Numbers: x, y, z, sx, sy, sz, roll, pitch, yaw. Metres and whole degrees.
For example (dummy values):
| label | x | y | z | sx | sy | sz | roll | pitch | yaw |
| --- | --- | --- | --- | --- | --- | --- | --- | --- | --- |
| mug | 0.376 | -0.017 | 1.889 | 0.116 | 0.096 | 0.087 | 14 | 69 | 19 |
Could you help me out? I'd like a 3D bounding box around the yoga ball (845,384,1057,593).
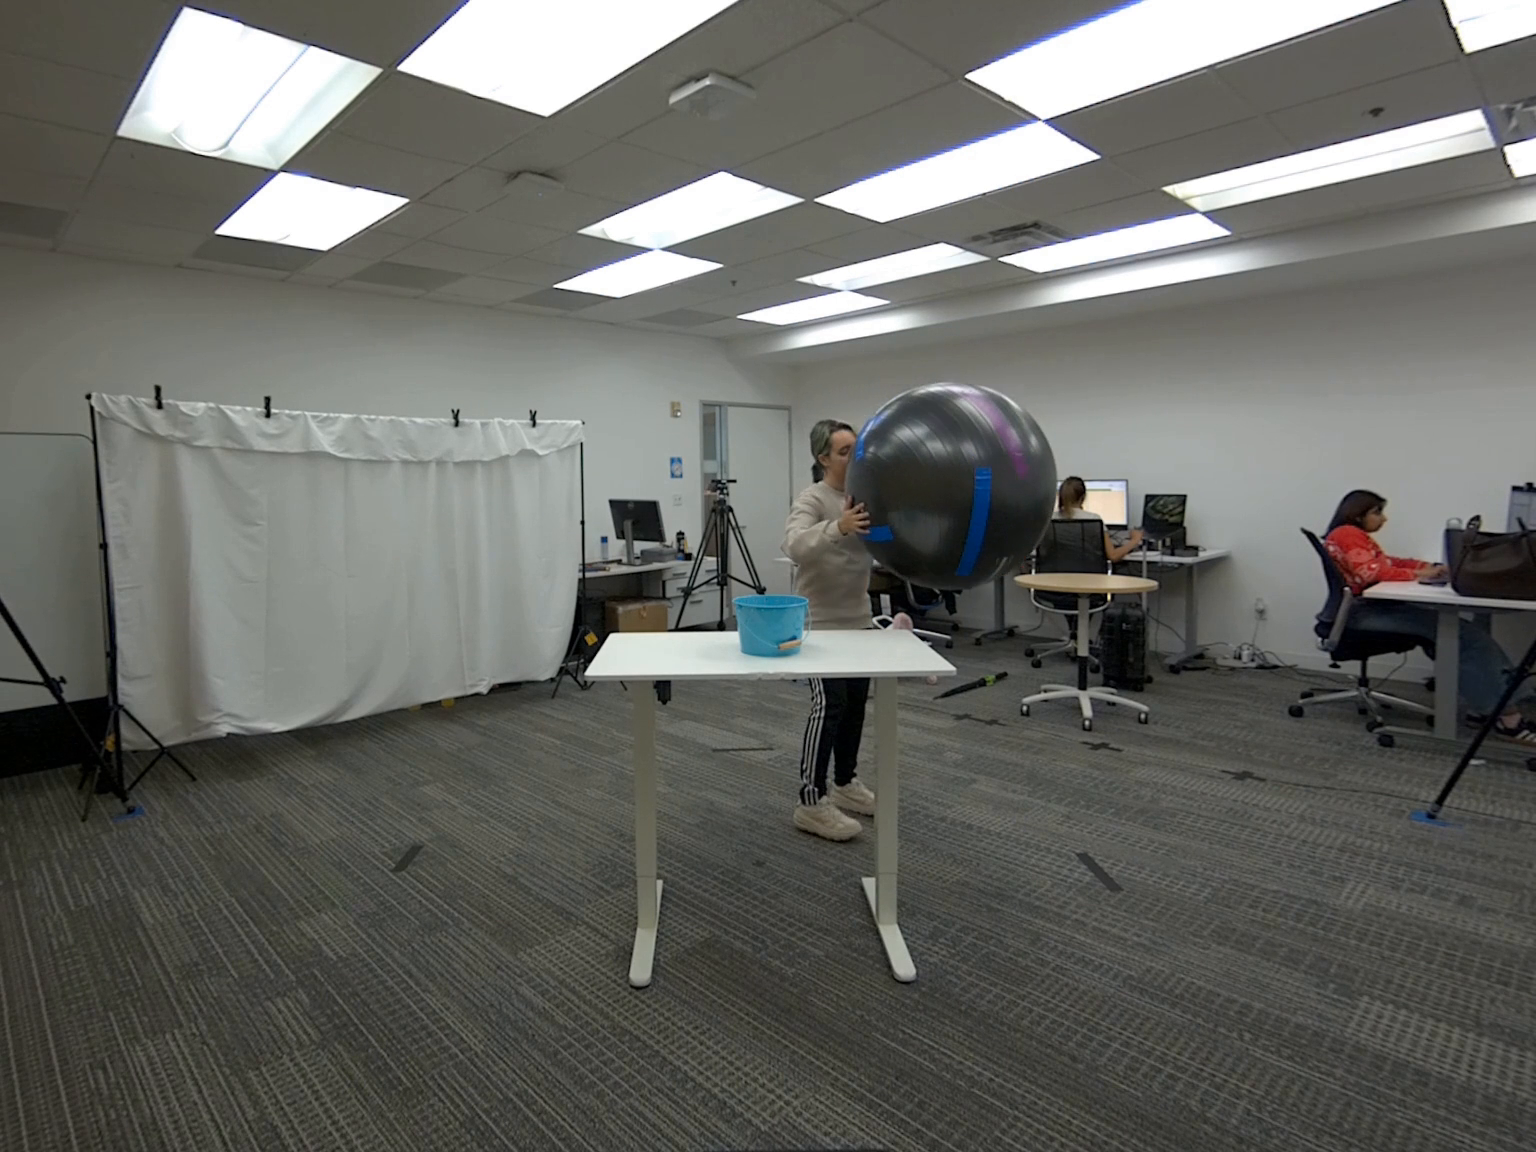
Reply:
| label | x | y | z | sx | sy | sz | roll | pitch | yaw |
| --- | --- | --- | --- | --- | --- | --- | --- | --- | --- |
| yoga ball | 0.671 | -0.323 | 3.137 | 0.757 | 0.755 | 0.762 | -1 | 5 | -2 |
